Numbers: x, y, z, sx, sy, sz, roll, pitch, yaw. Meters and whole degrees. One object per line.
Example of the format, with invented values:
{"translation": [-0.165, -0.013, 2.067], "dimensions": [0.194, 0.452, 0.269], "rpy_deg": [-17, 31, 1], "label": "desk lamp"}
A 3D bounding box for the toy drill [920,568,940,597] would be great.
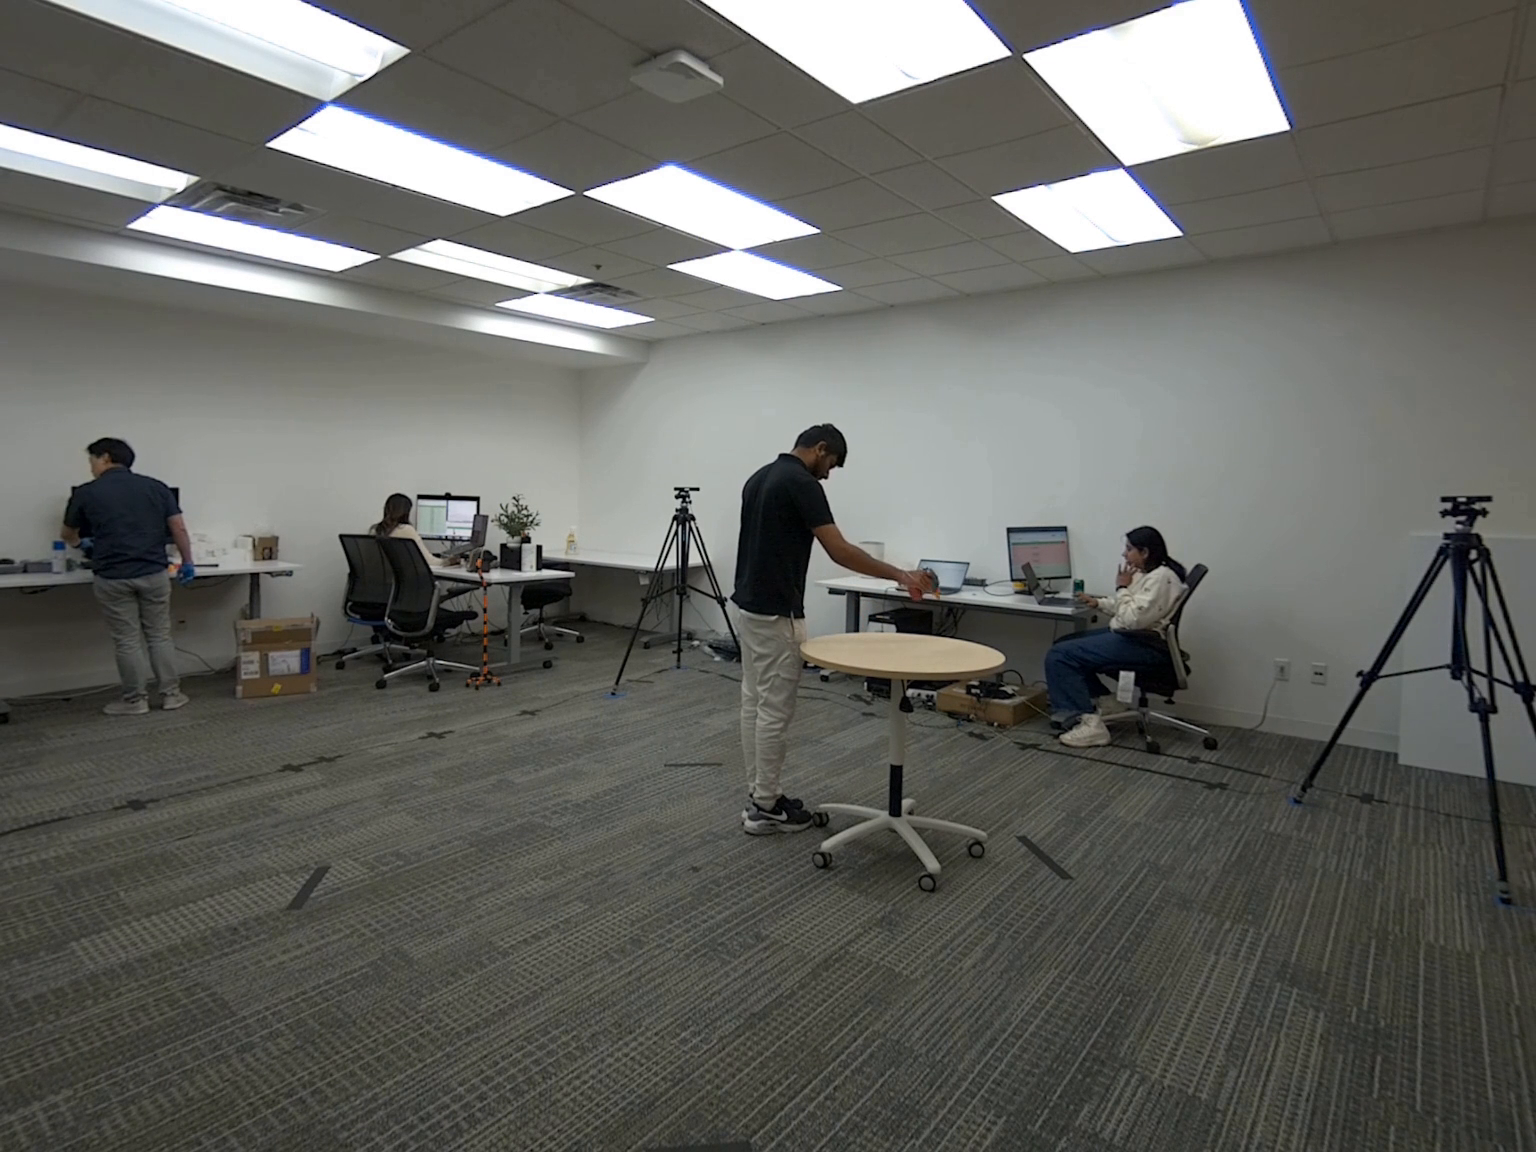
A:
{"translation": [0.626, 0.053, 3.401], "dimensions": [0.145, 0.165, 0.063], "rpy_deg": [-37, 30, -27], "label": "toy drill"}
